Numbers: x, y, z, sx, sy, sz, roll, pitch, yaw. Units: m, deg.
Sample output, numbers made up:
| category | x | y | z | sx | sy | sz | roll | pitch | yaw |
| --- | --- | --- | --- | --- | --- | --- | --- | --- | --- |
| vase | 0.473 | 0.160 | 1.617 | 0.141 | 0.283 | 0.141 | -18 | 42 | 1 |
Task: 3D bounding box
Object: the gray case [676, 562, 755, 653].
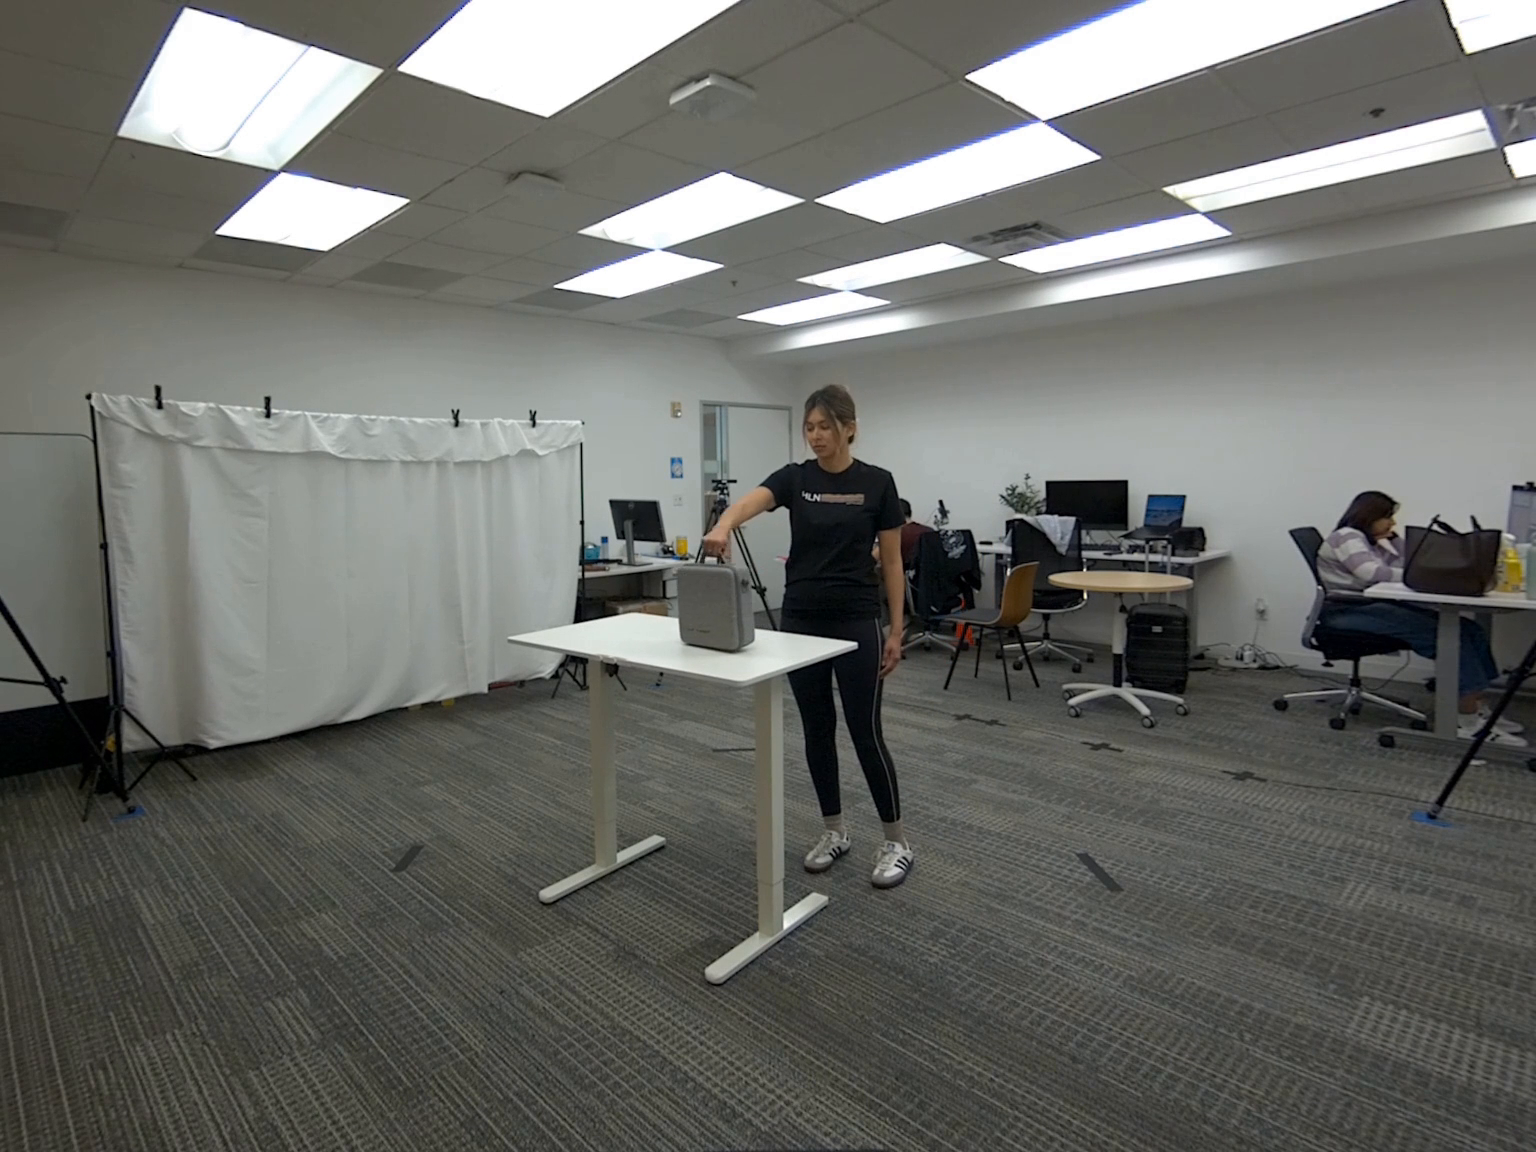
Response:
| category | x | y | z | sx | sy | sz | roll | pitch | yaw |
| --- | --- | --- | --- | --- | --- | --- | --- | --- | --- |
| gray case | -0.163 | 0.086 | 2.642 | 0.265 | 0.260 | 0.101 | 2 | 5 | 44 |
